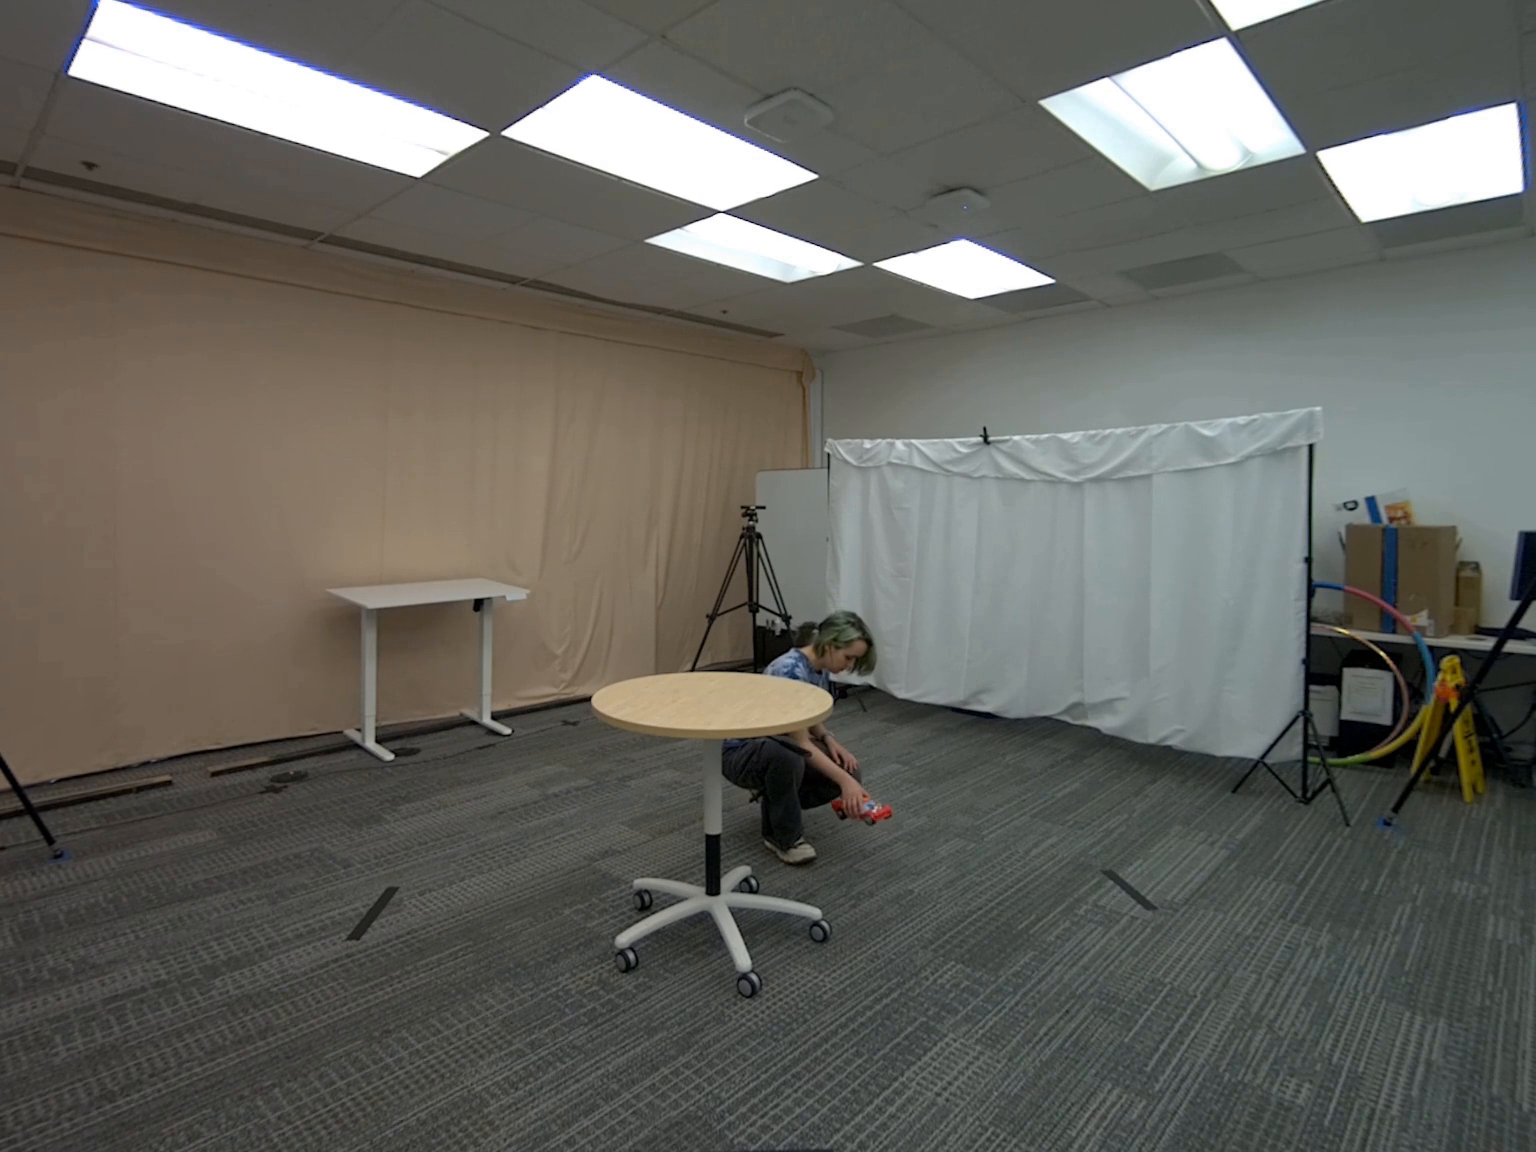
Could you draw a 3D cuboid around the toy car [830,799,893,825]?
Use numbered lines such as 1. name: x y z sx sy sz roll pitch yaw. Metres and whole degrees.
1. toy car: 0.353 0.890 3.234 0.127 0.083 0.263 -9 13 -36
